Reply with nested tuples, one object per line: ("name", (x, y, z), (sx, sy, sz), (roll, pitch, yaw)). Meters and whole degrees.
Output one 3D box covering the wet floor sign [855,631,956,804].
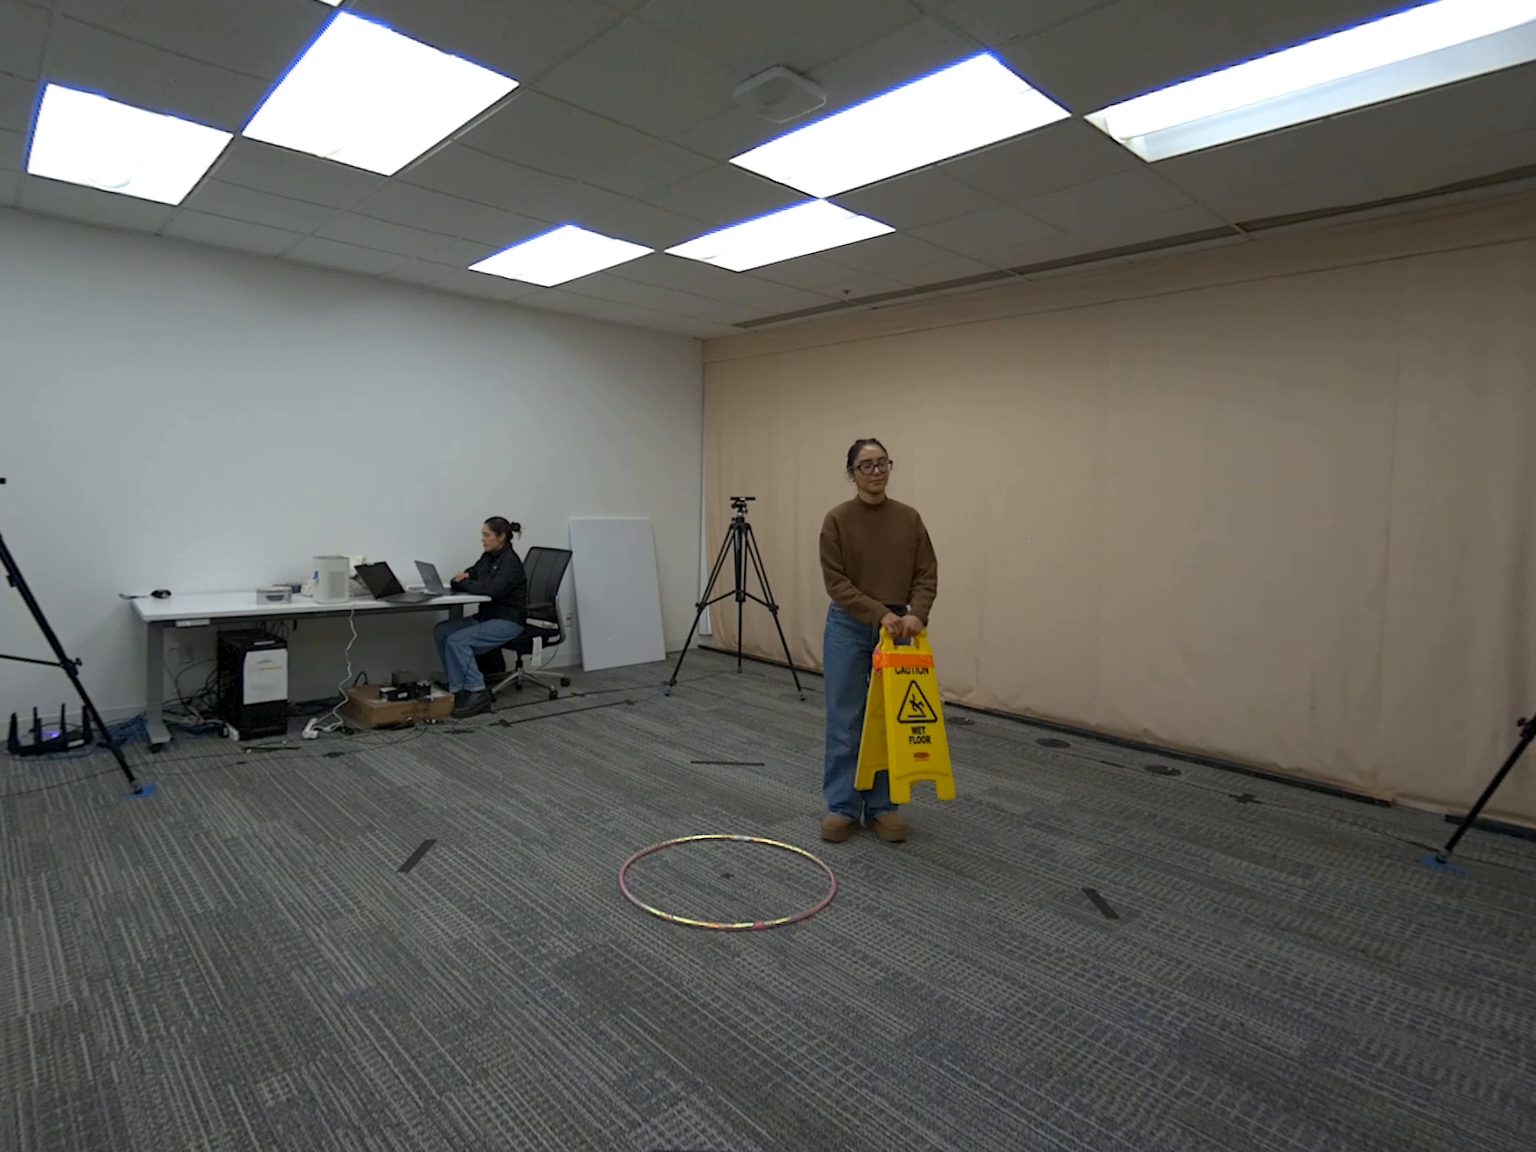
("wet floor sign", (0.514, 0.515, 3.251), (0.277, 0.648, 0.294), (3, -5, -23))
